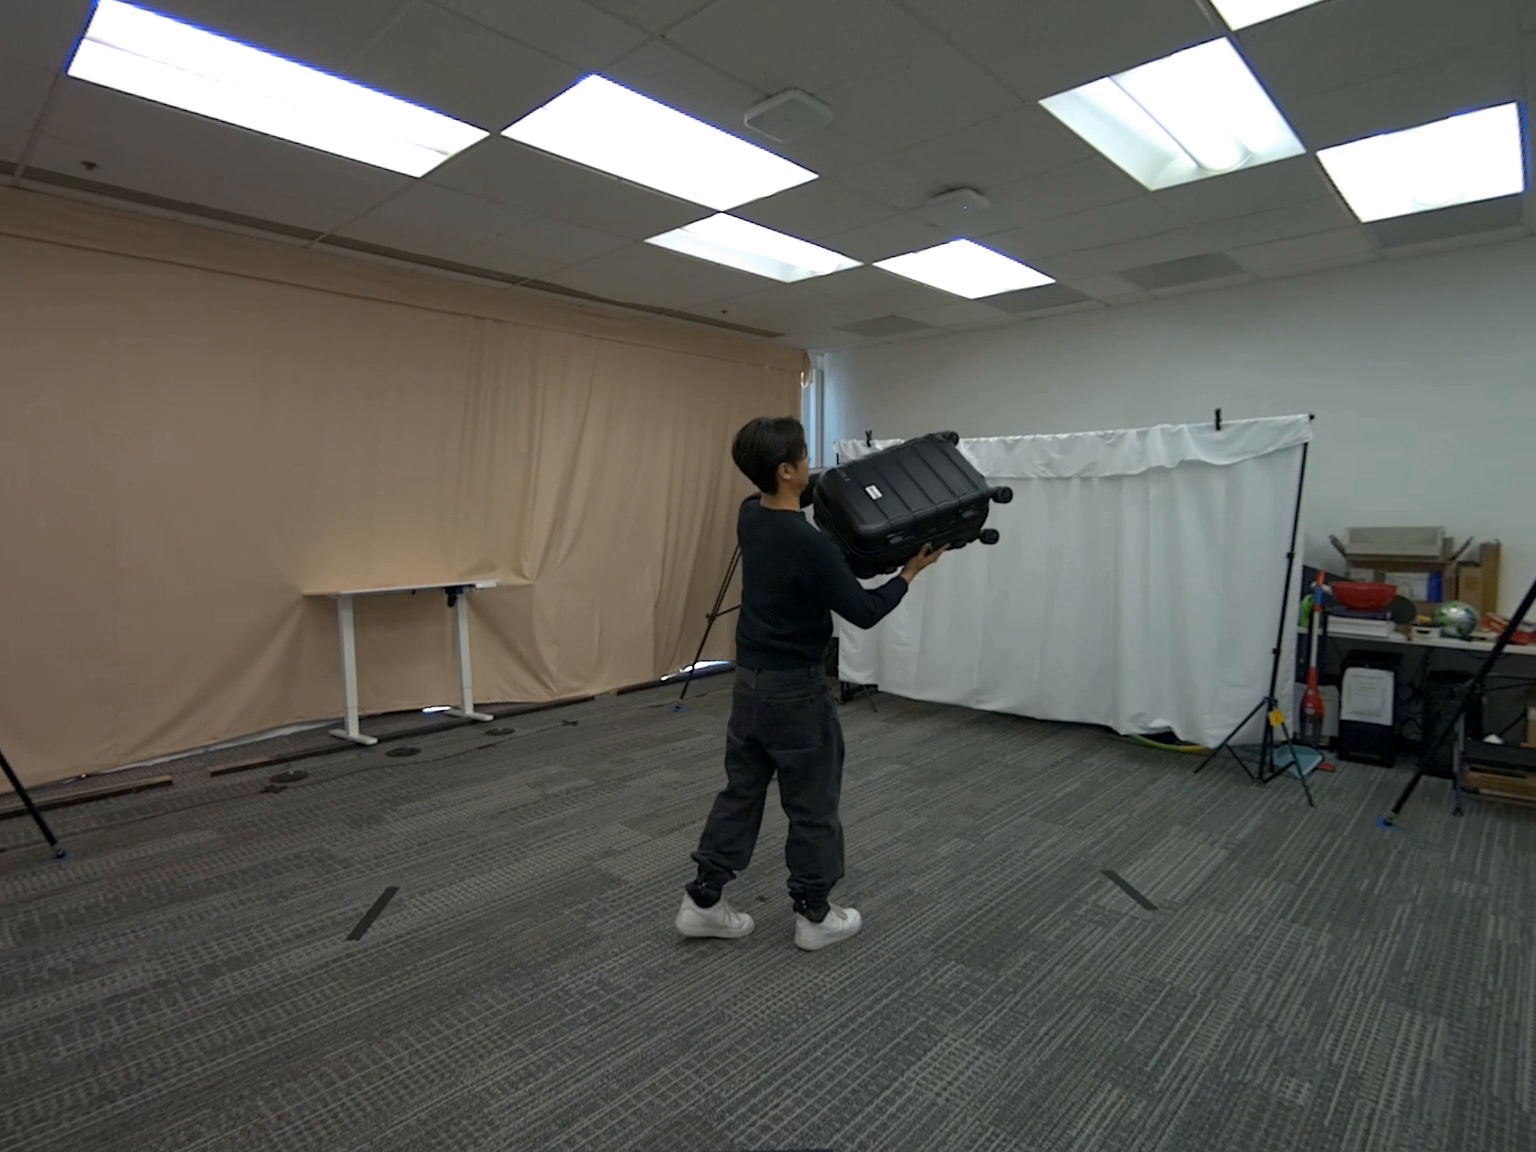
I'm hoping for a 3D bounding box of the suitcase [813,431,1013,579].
[{"bbox_3d":[0.449,-0.231,2.750,0.543,0.244,0.387,-18,52,-15],"label":"suitcase"}]
